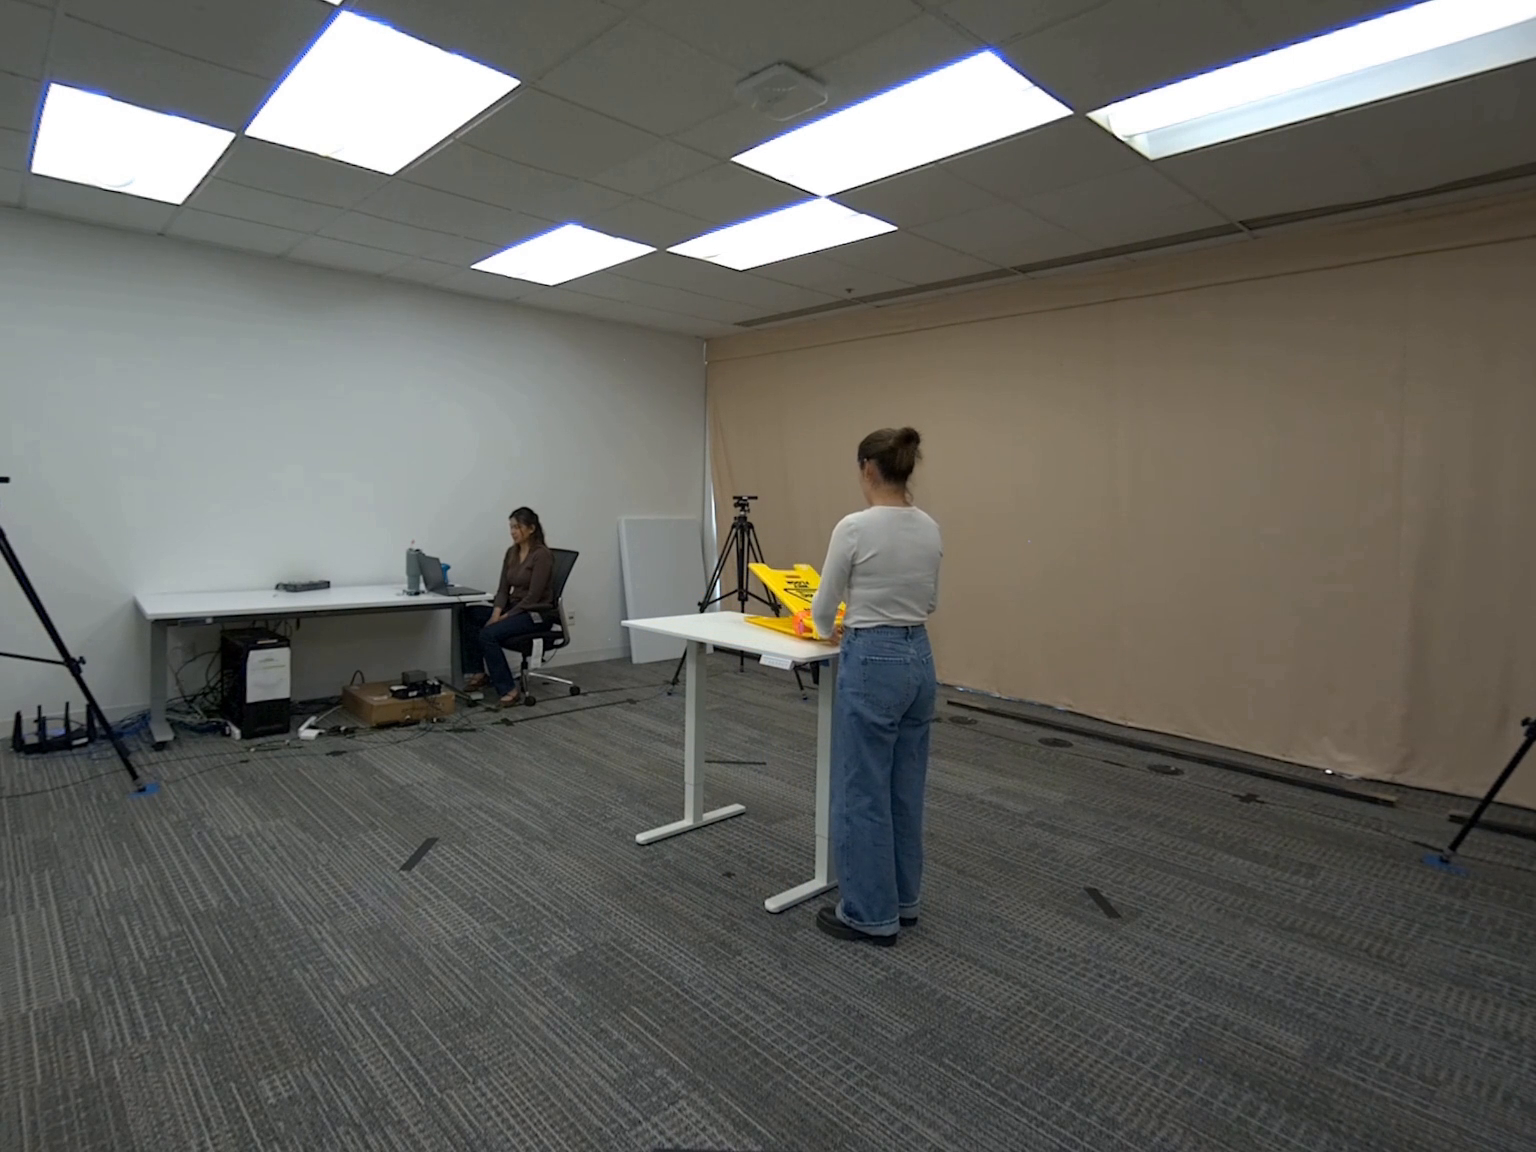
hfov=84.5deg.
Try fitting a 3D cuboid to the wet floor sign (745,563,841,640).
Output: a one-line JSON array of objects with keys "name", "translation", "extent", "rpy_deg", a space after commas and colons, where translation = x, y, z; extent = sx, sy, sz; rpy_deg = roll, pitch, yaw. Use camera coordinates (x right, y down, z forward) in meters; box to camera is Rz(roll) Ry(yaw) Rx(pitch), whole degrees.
[{"name": "wet floor sign", "translation": [0.135, 0.150, 3.234], "extent": [0.278, 0.288, 0.660], "rpy_deg": [2, 11, -20]}]
